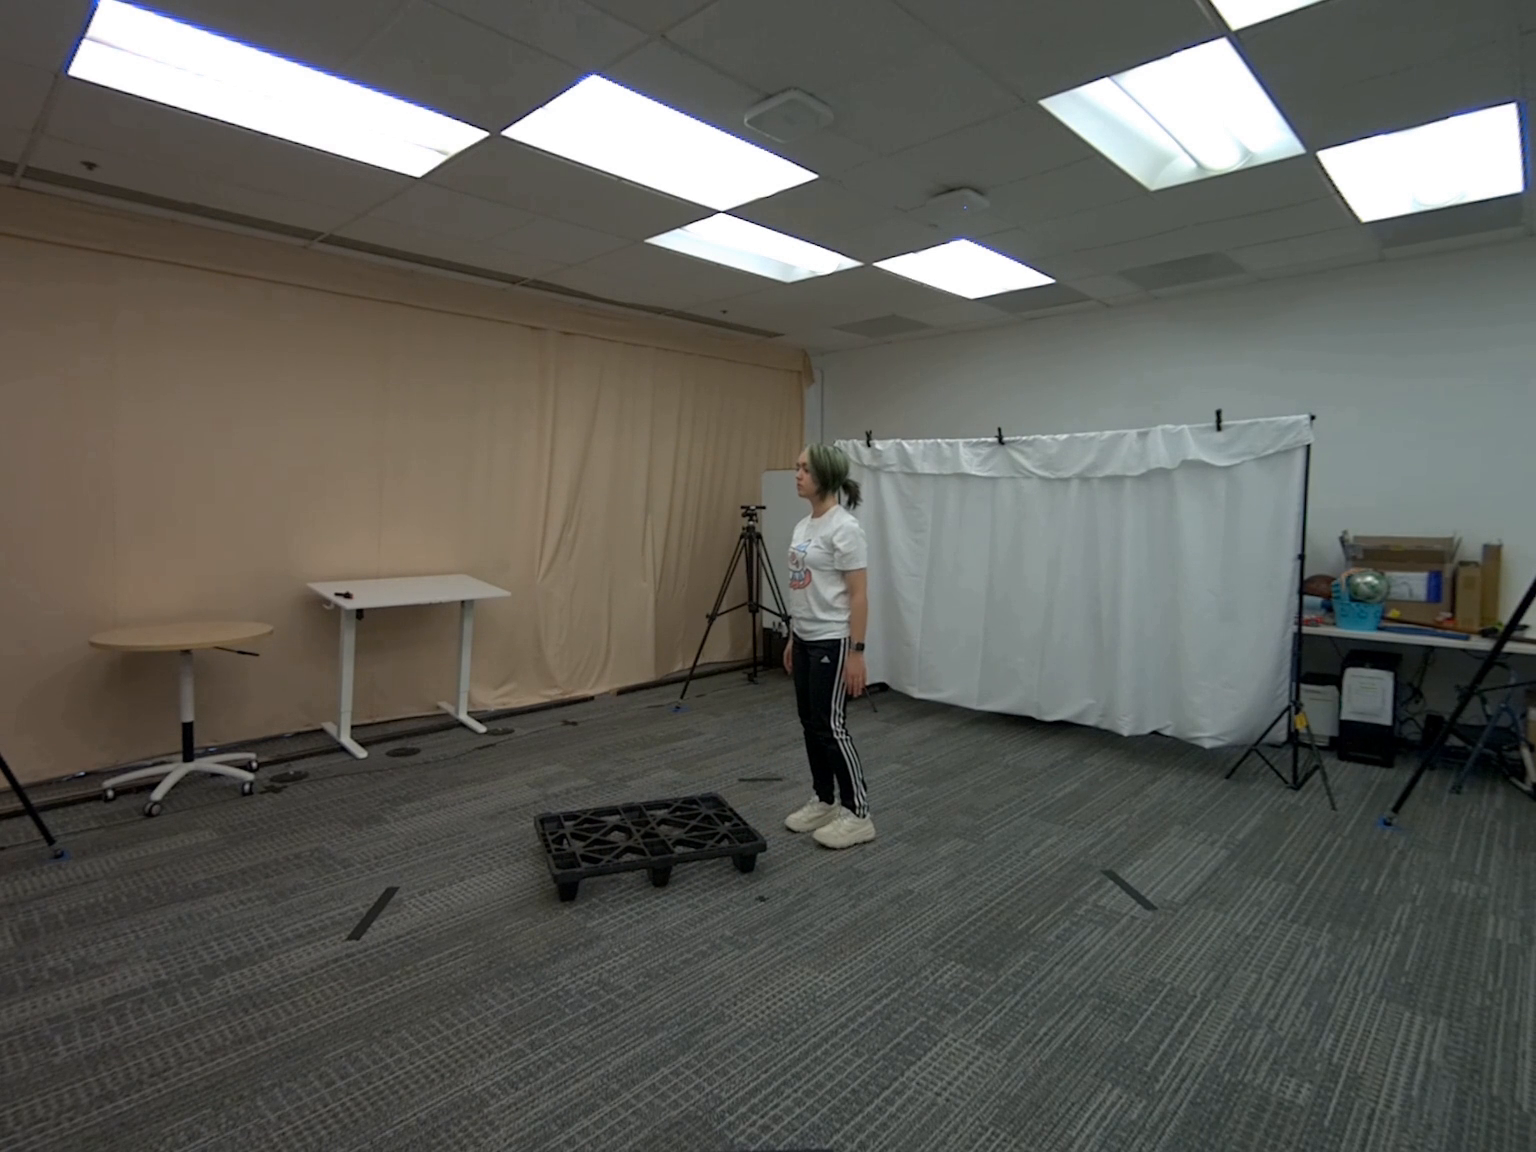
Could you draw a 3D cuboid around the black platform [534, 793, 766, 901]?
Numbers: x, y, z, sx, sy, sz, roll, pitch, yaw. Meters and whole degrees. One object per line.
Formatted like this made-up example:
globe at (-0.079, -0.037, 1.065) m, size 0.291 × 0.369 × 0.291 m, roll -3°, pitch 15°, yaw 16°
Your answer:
black platform at (-0.480, 1.053, 3.304) m, size 0.790 × 0.143 × 0.618 m, roll -2°, pitch 4°, yaw -20°
